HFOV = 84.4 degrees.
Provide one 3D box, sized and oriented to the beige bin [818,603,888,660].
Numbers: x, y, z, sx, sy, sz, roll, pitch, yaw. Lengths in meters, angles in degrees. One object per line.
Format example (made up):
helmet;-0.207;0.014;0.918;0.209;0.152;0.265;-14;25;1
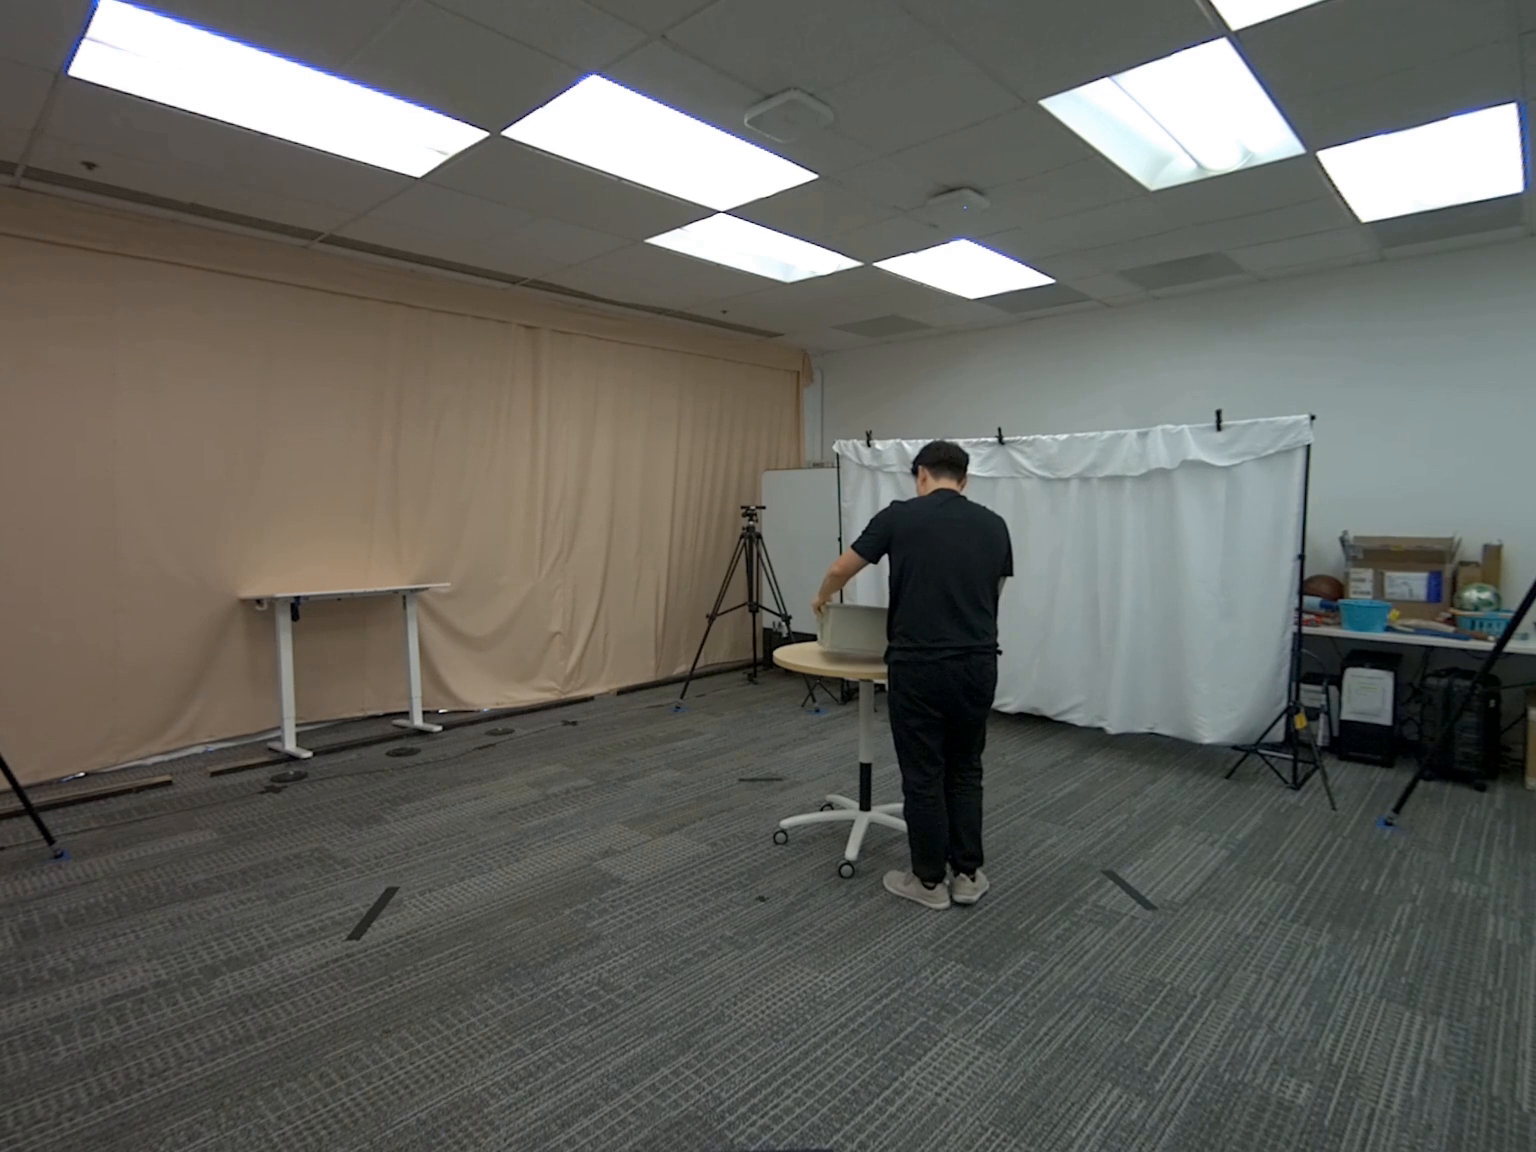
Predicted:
beige bin;0.423;0.199;3.380;0.423;0.189;0.377;6;1;1
